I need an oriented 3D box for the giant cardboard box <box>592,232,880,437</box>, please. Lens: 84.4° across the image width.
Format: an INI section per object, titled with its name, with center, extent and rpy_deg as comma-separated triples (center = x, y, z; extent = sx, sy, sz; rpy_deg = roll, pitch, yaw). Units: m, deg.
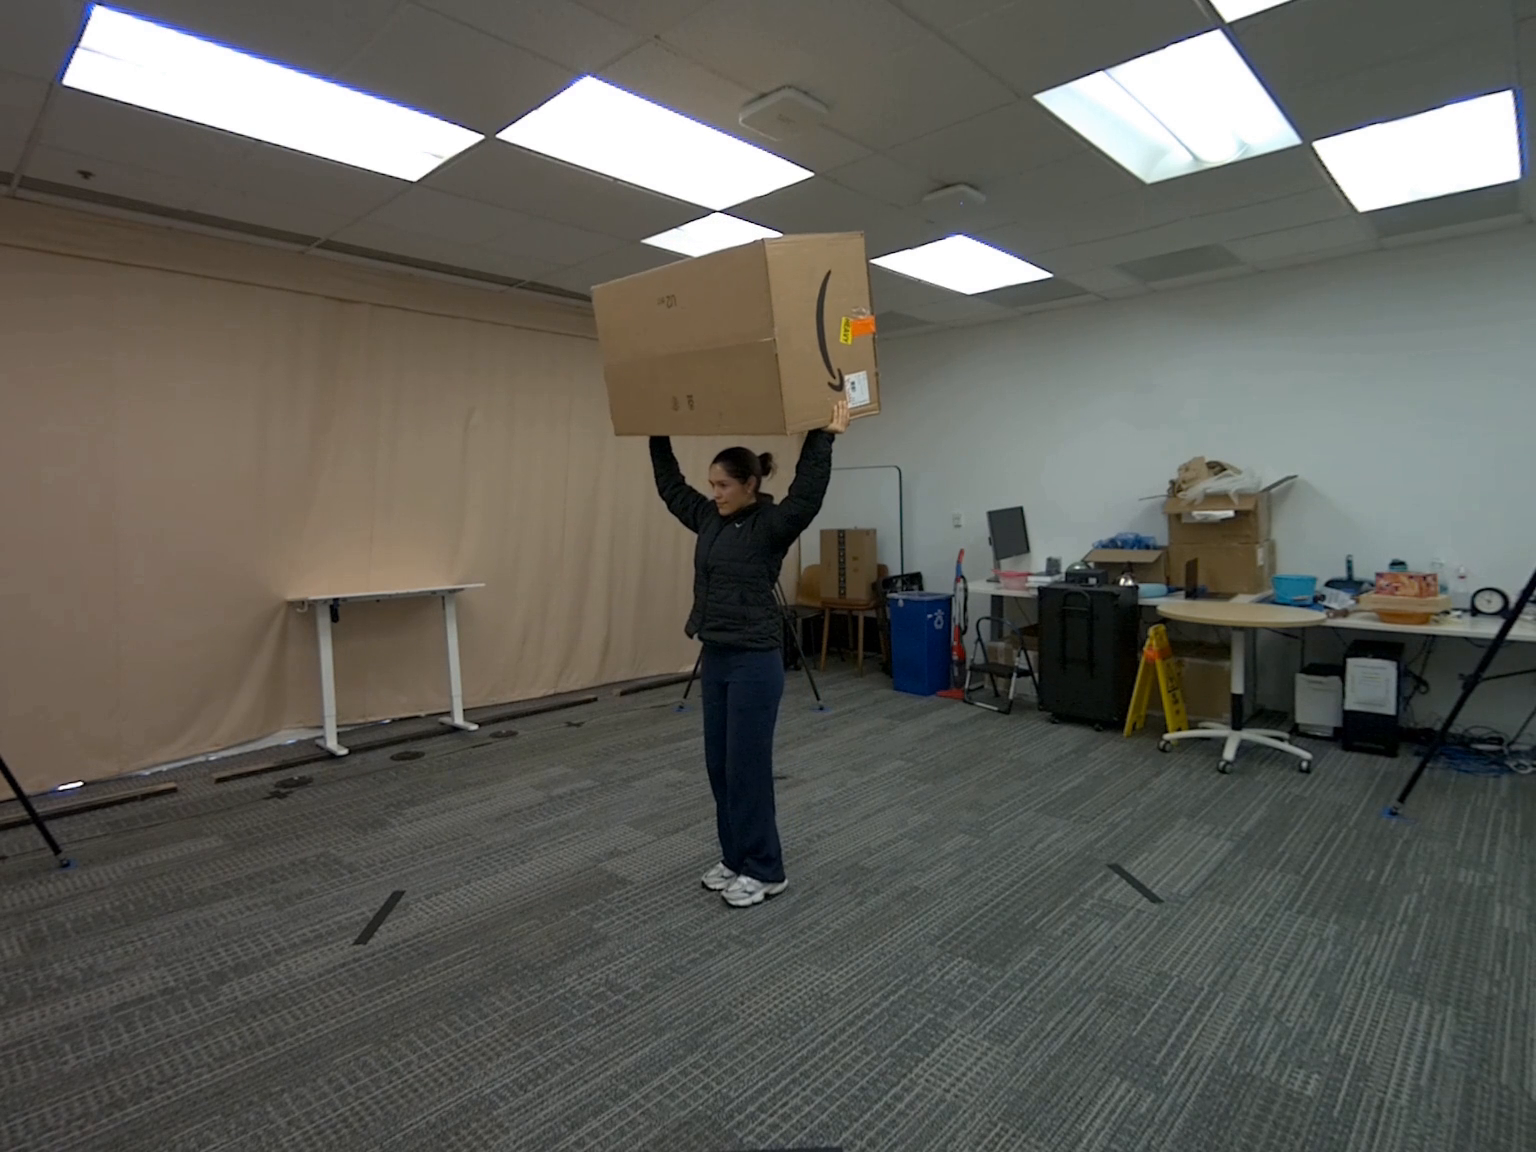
[giant cardboard box]
center = -0.136, -0.809, 2.979
extent = 0.436, 0.578, 1.063
rpy_deg = -17, 18, -37
